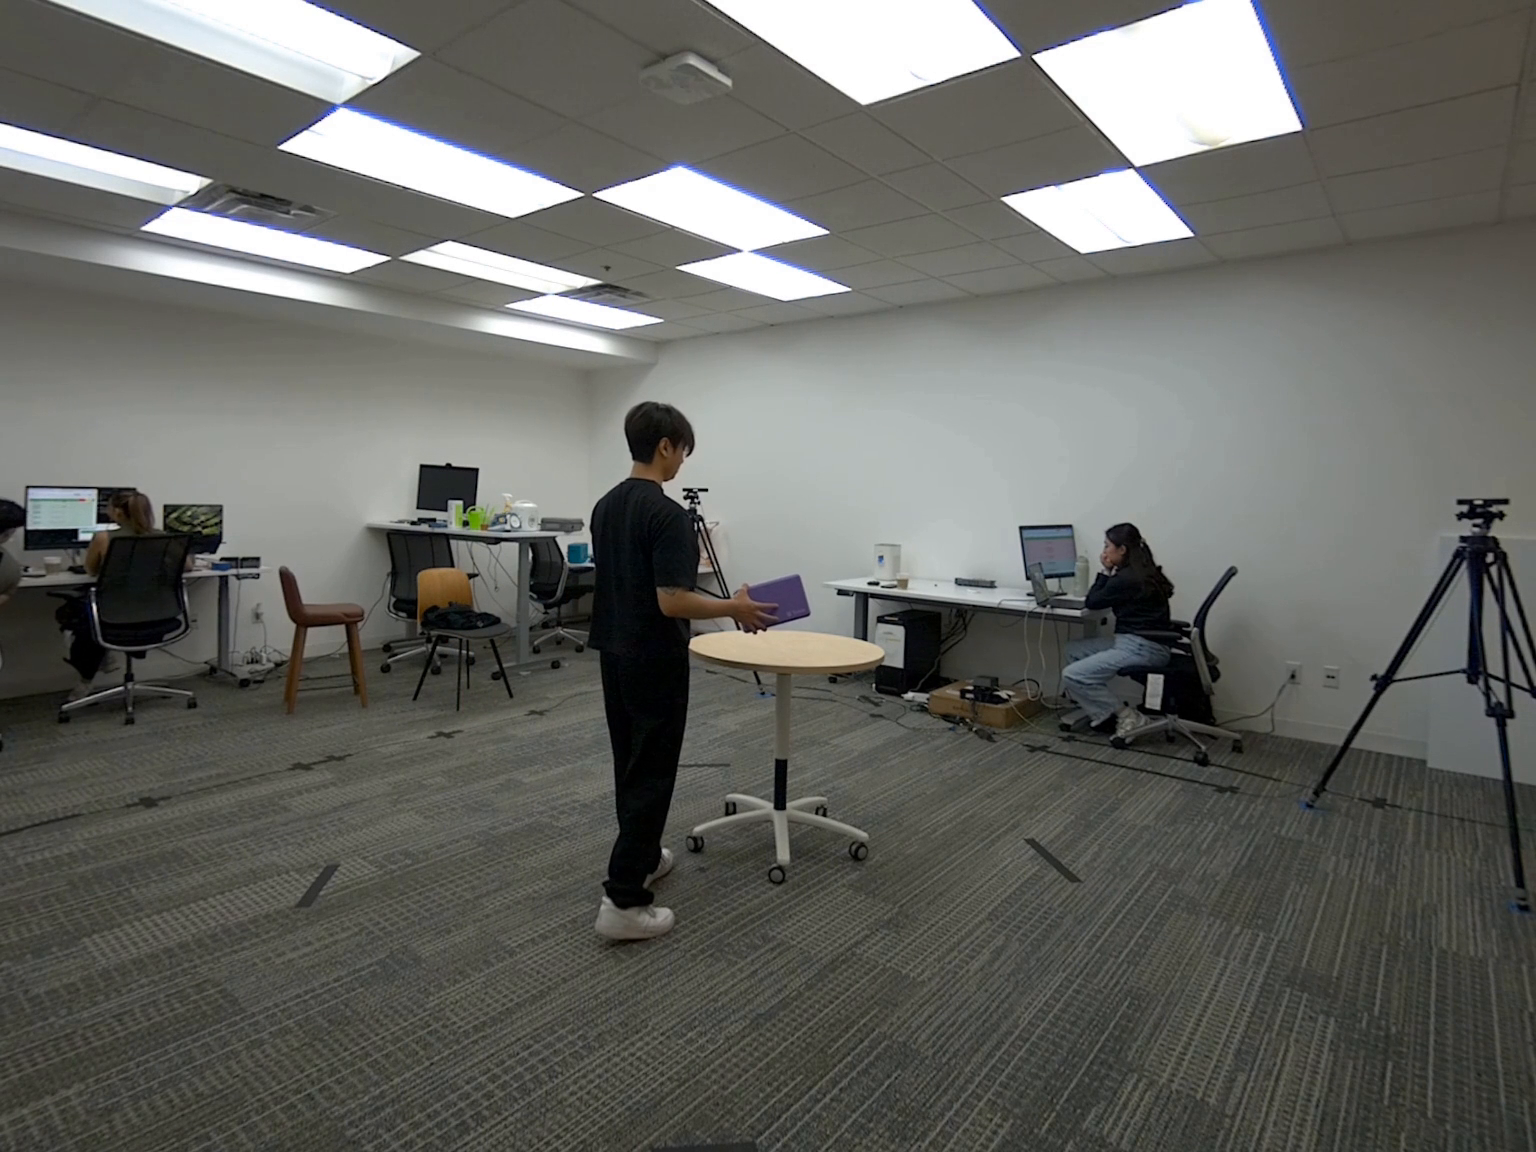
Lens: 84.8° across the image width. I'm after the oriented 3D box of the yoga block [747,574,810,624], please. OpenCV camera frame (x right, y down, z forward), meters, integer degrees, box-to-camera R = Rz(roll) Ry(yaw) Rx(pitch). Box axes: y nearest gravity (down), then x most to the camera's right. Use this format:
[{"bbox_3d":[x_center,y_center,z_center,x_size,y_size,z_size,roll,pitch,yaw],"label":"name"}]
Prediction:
[{"bbox_3d":[-0.006,0.092,2.851,0.229,0.150,0.076,-11,-4,-2],"label":"yoga block"}]
